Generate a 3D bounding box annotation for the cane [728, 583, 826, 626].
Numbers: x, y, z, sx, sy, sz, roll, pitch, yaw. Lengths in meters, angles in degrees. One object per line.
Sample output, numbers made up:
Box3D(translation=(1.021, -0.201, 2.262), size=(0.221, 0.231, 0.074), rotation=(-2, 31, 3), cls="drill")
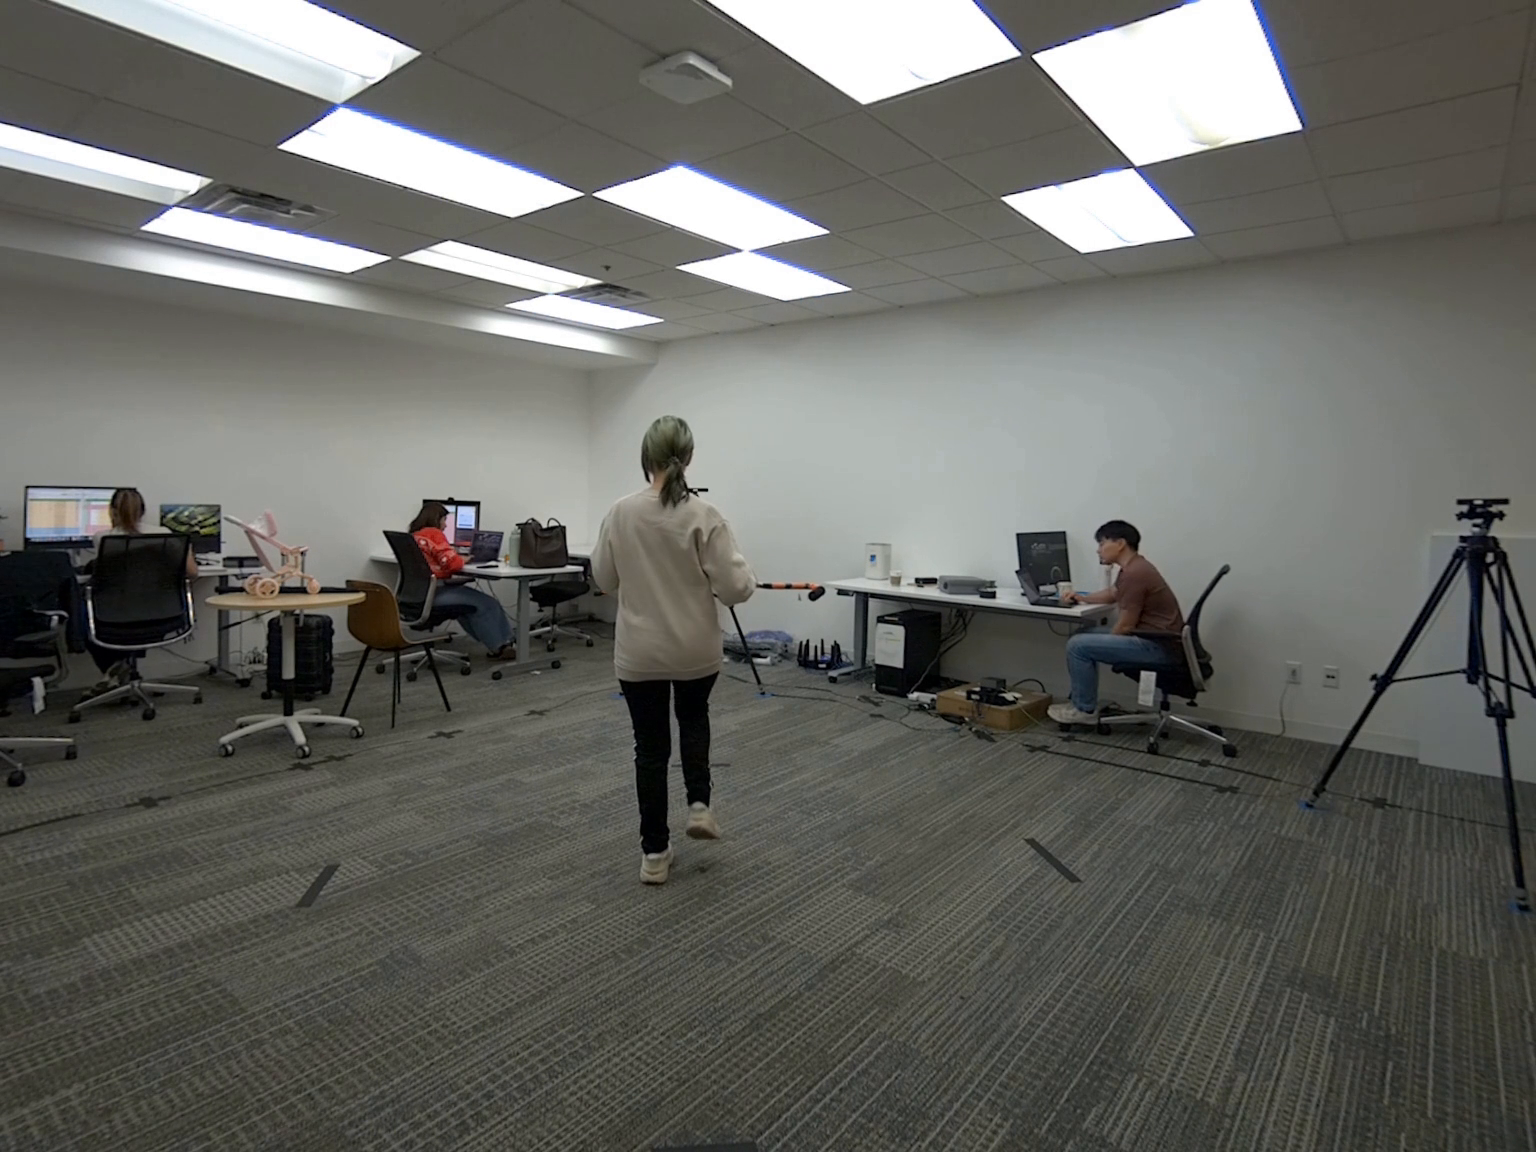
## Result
Box3D(translation=(-0.222, 0.026, 3.290), size=(0.928, 0.150, 0.203), rotation=(4, 9, 21), cls="cane")
